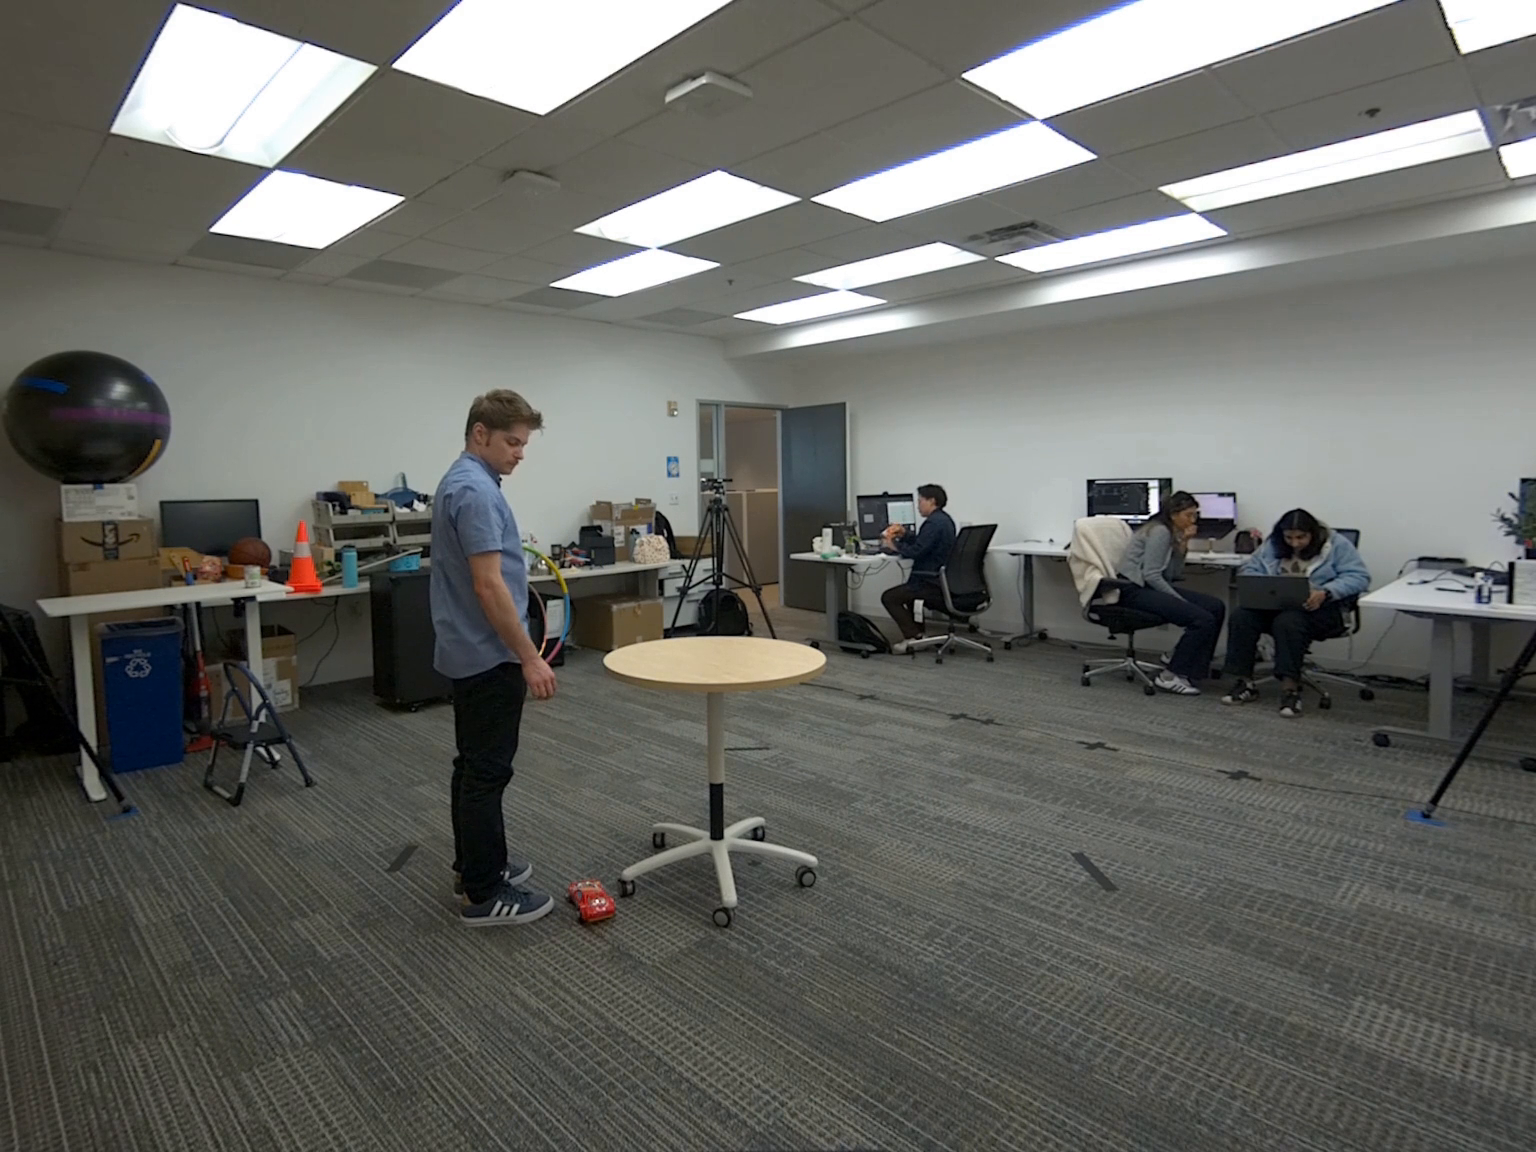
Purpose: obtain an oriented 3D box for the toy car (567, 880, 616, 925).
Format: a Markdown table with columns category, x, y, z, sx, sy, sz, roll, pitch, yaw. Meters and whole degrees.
| category | x | y | z | sx | sy | sz | roll | pitch | yaw |
| --- | --- | --- | --- | --- | --- | --- | --- | --- | --- |
| toy car | -0.576 | 1.060 | 2.775 | 0.127 | 0.083 | 0.258 | -4 | -4 | -26 |
